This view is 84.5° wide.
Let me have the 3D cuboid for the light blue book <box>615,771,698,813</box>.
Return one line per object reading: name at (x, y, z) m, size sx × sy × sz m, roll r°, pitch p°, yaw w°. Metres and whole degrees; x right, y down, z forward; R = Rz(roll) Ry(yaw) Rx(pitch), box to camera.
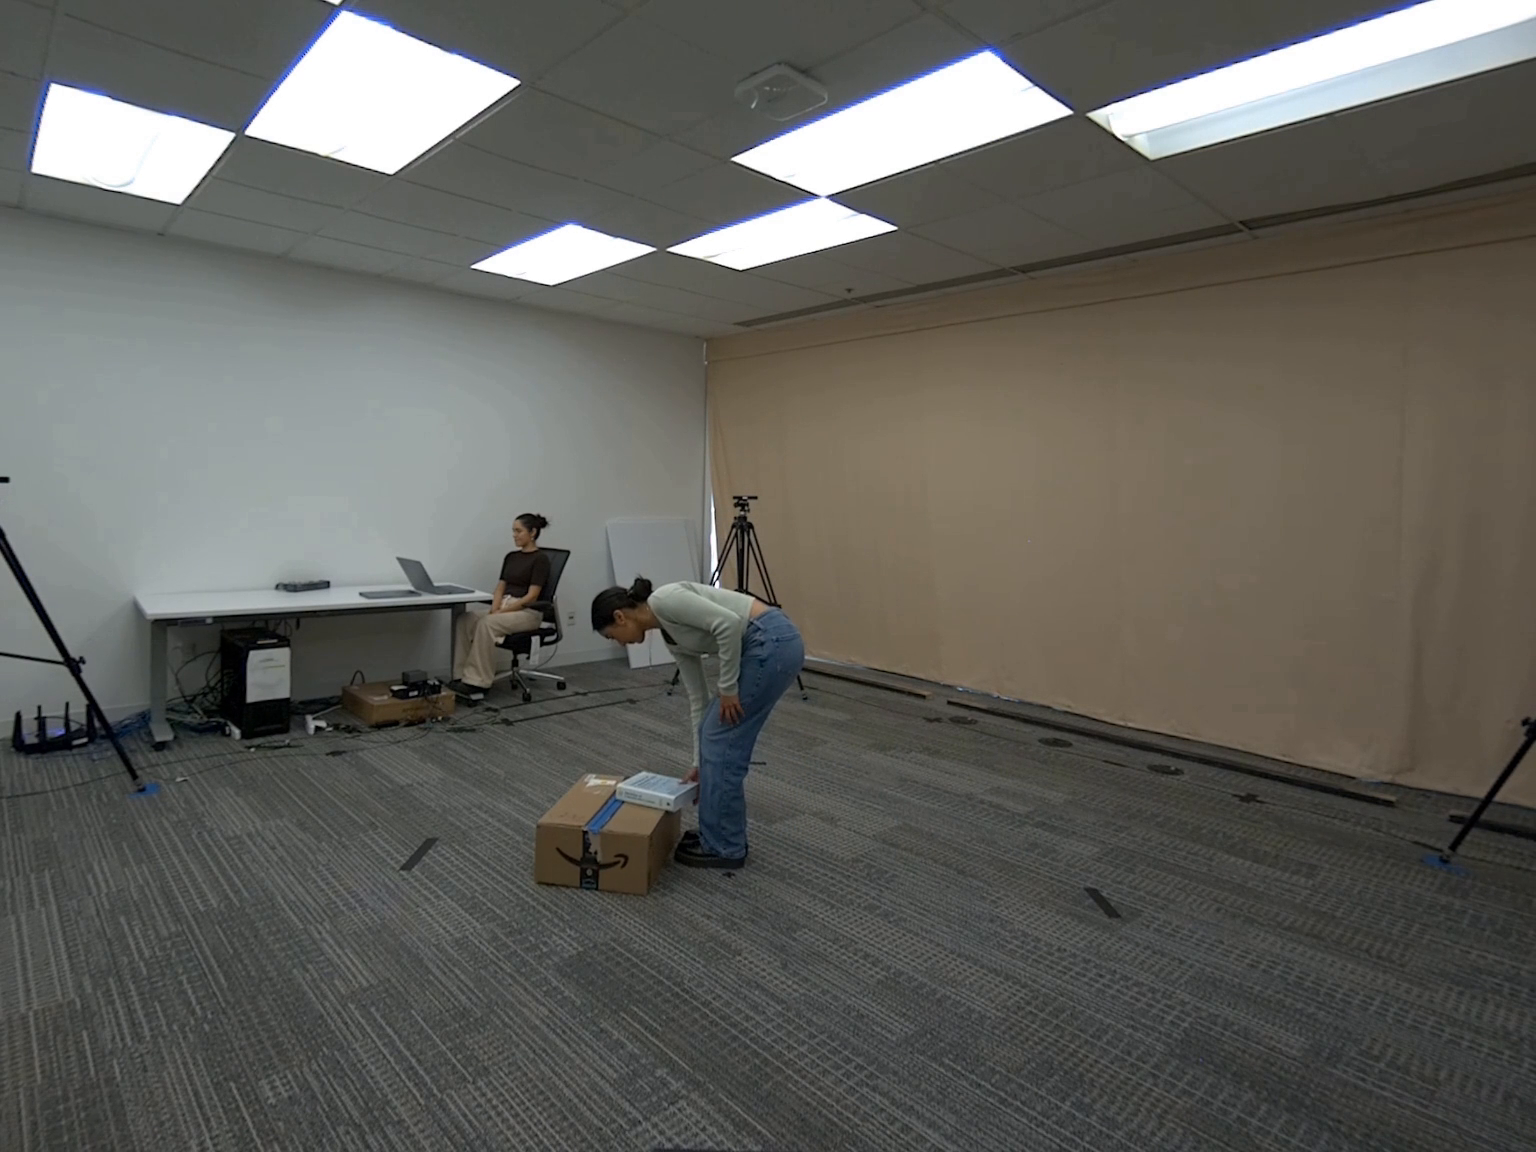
light blue book at (-0.441, 0.829, 3.271) m, size 0.266 × 0.059 × 0.188 m, roll 4°, pitch 6°, yaw 26°
